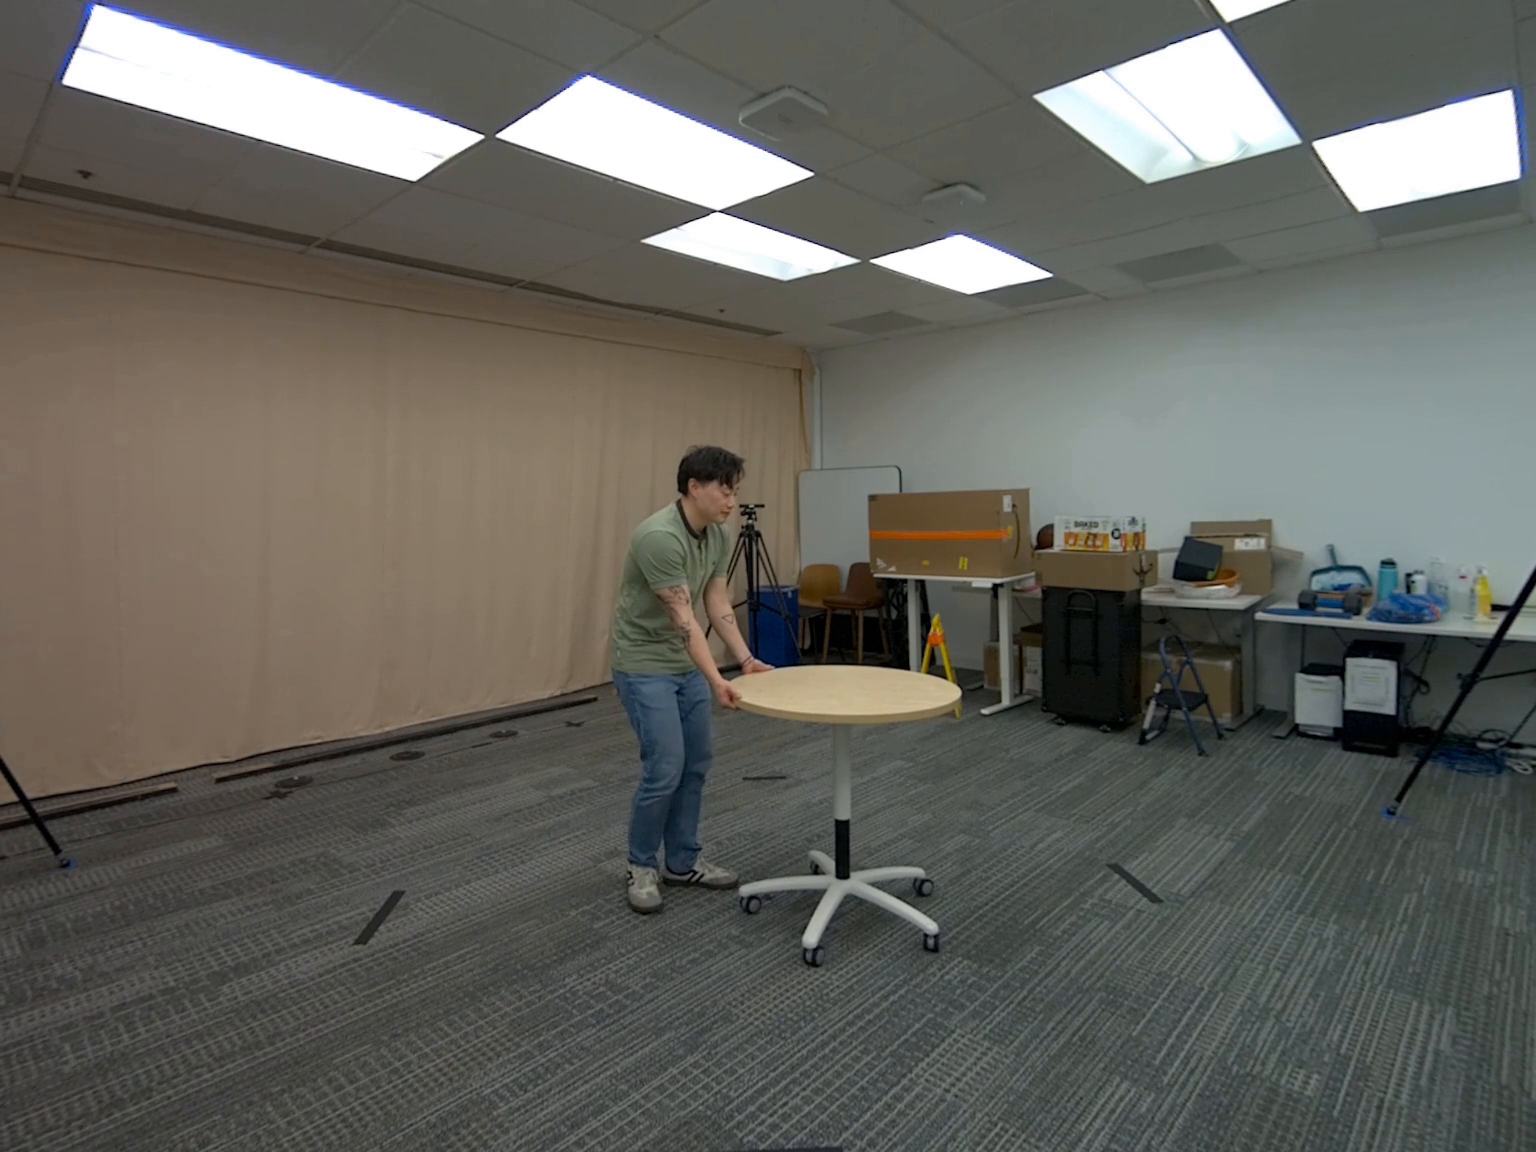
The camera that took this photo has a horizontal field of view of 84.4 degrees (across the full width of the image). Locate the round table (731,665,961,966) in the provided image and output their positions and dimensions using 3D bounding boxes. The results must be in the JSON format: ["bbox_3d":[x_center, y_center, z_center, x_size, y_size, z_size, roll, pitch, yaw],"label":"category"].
[{"bbox_3d":[0.257,0.763,2.800,0.763,0.792,0.766,-1,4,-2],"label":"round table"}]
